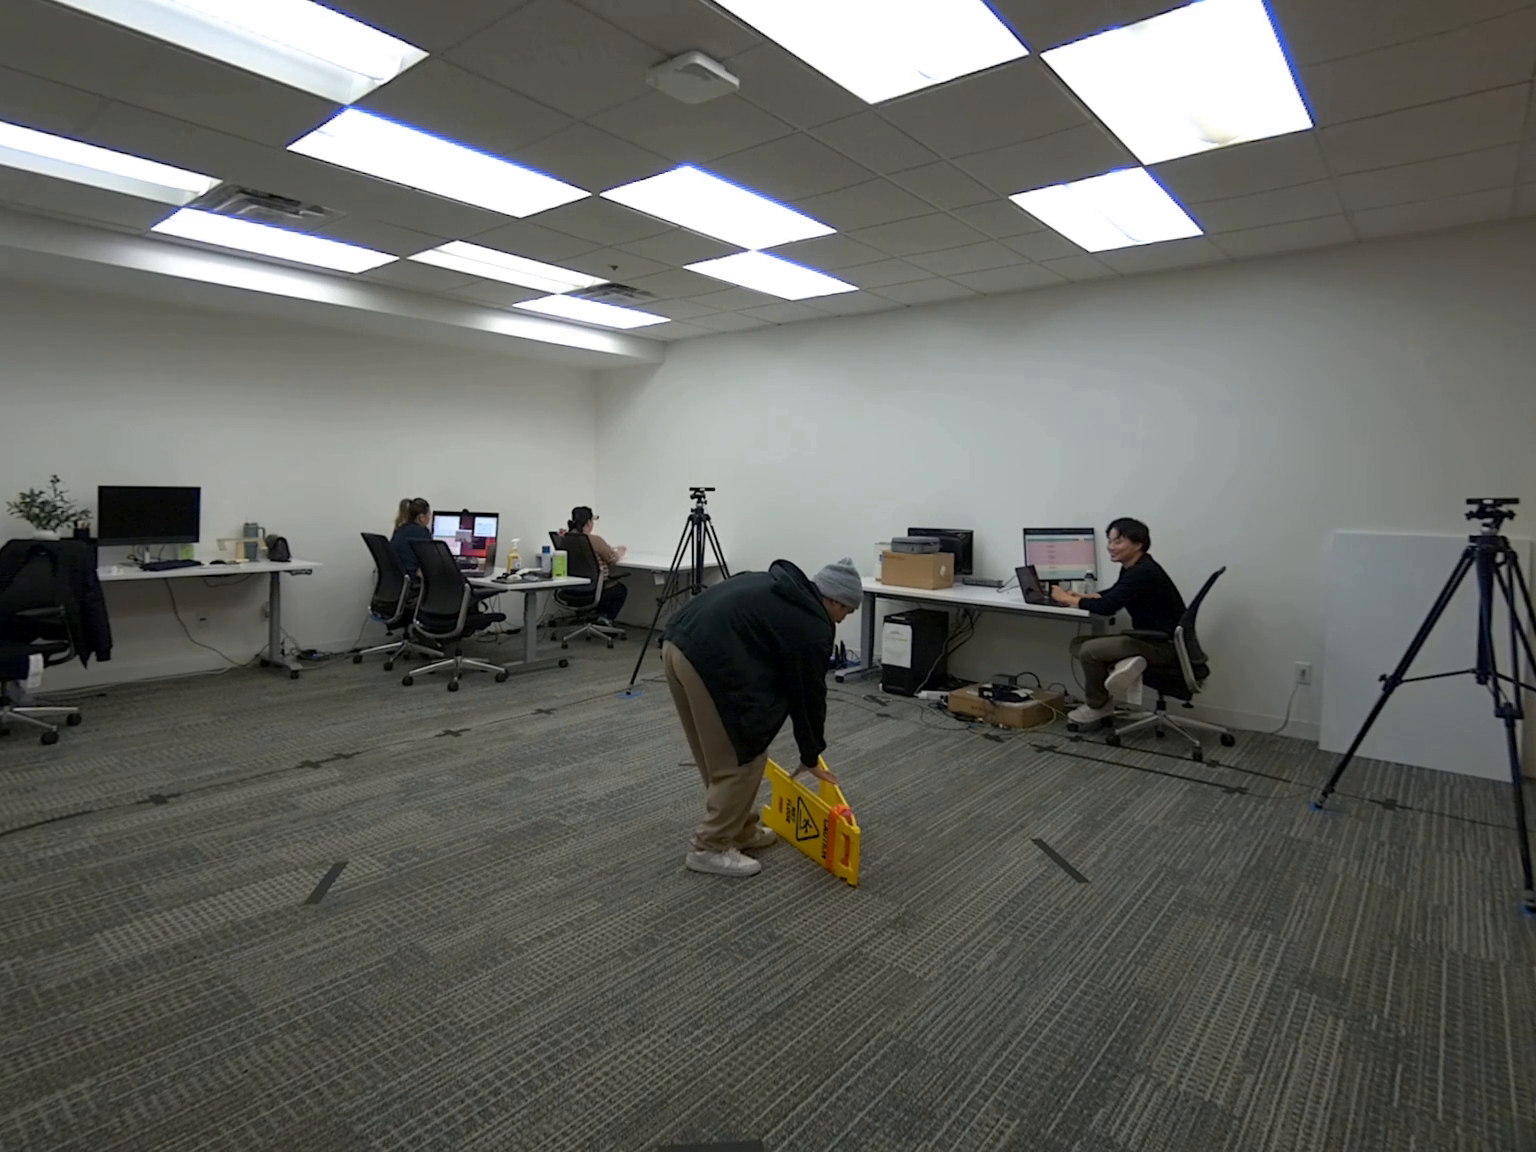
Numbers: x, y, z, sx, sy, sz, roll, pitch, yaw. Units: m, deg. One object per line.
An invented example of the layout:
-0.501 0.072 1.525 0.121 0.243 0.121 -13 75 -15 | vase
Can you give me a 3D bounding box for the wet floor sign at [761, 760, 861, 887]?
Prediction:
0.205 0.933 3.280 0.284 0.280 0.662 0 8 -19 | wet floor sign
